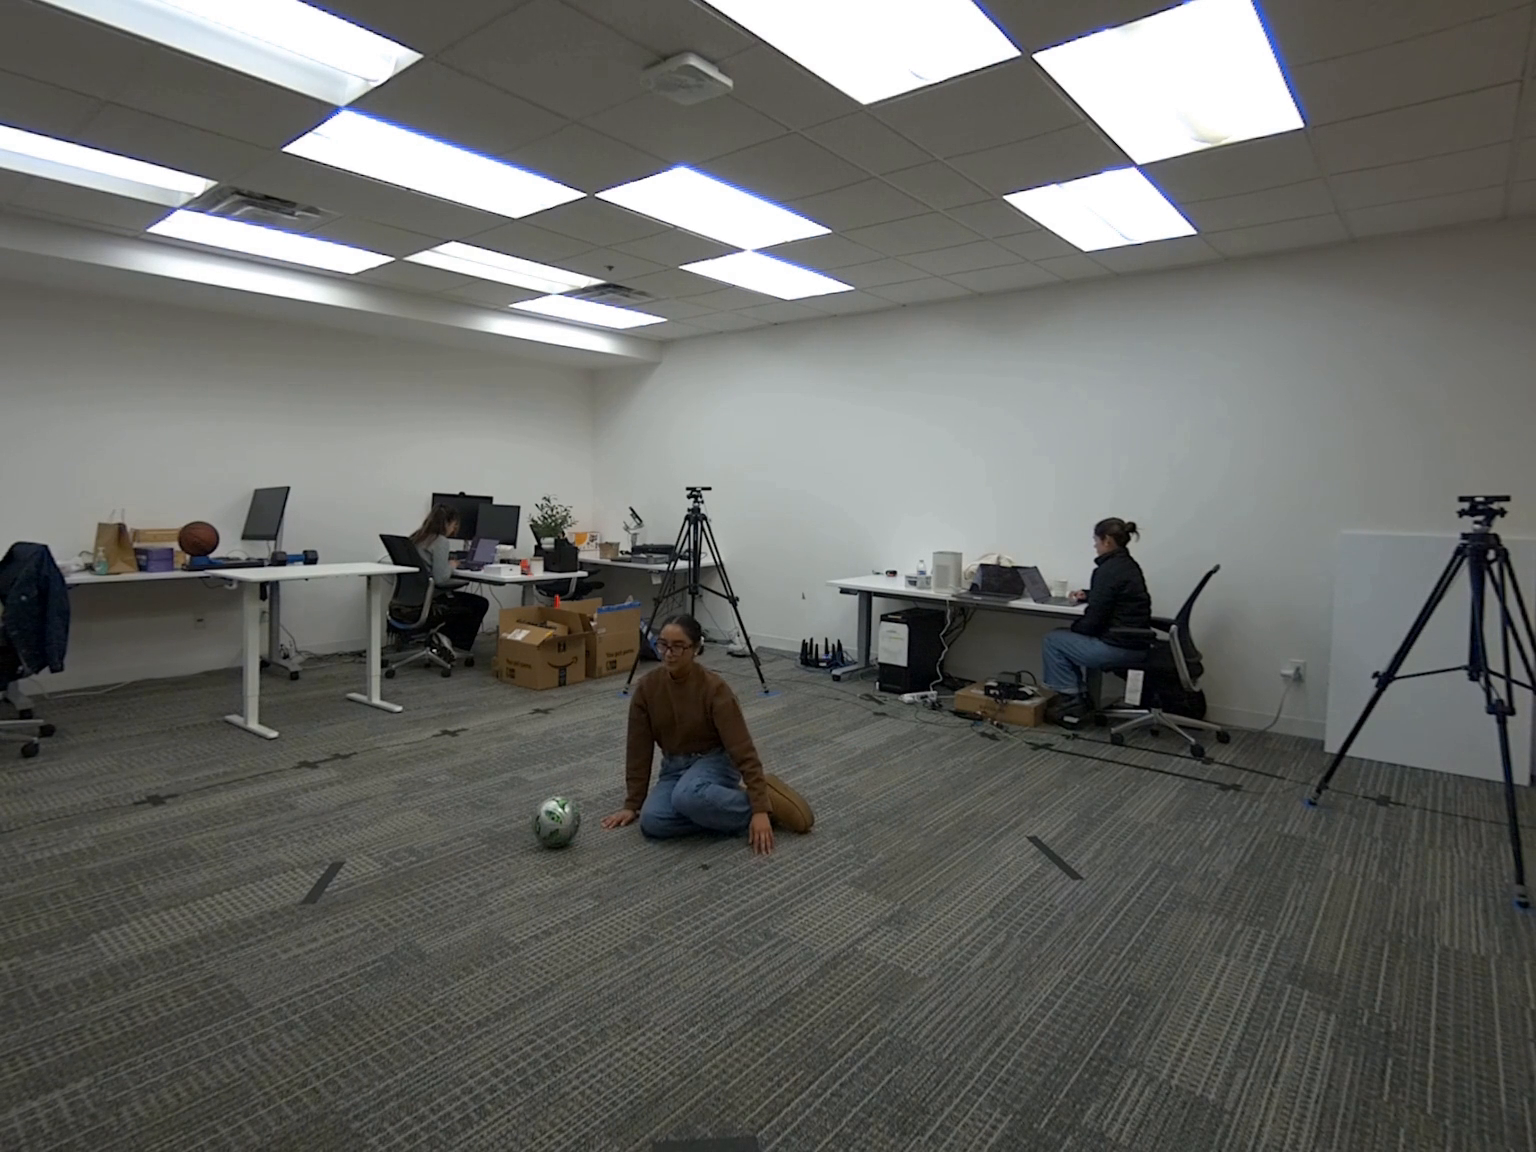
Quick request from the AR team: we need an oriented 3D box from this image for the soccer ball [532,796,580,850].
[{"bbox_3d":[-0.840,0.944,3.282,0.187,0.187,0.188,1,4,-2],"label":"soccer ball"}]
